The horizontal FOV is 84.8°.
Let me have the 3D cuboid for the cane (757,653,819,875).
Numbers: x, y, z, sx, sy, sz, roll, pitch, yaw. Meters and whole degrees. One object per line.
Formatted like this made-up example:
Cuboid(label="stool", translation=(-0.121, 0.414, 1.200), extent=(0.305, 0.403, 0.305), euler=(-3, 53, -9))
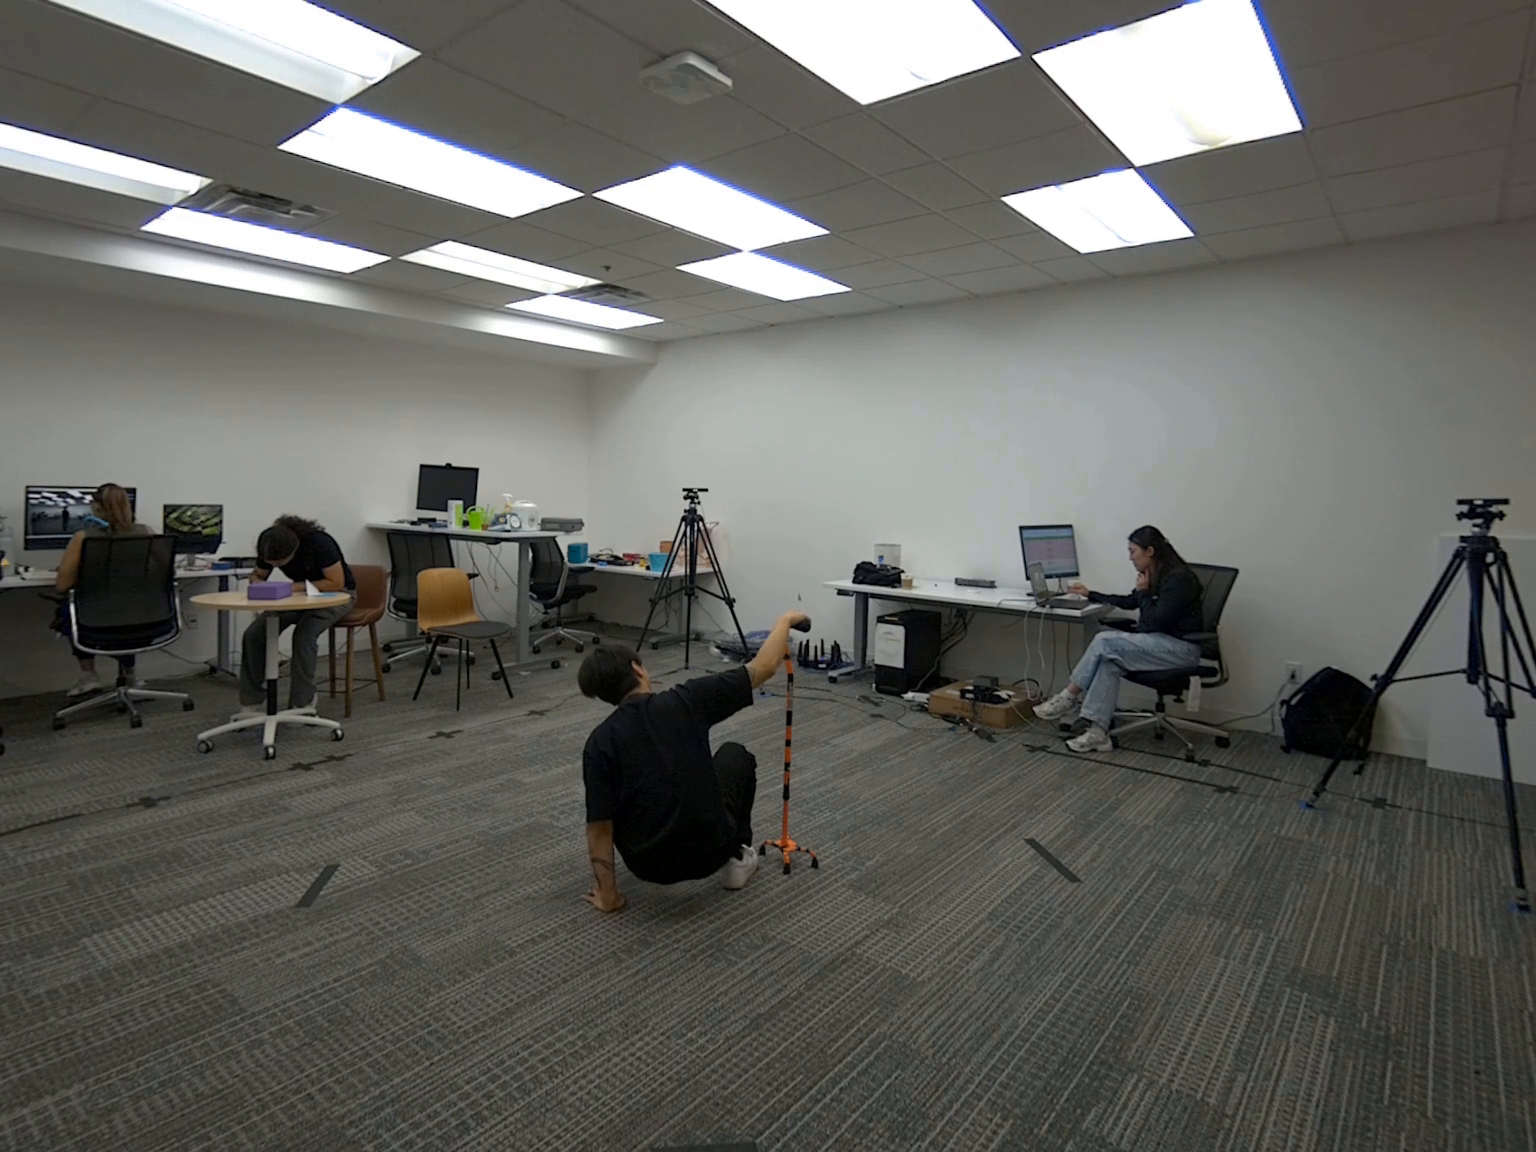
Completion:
Cuboid(label="cane", translation=(0.083, 0.616, 3.179), extent=(0.147, 0.906, 0.212), euler=(0, 2, -29))
